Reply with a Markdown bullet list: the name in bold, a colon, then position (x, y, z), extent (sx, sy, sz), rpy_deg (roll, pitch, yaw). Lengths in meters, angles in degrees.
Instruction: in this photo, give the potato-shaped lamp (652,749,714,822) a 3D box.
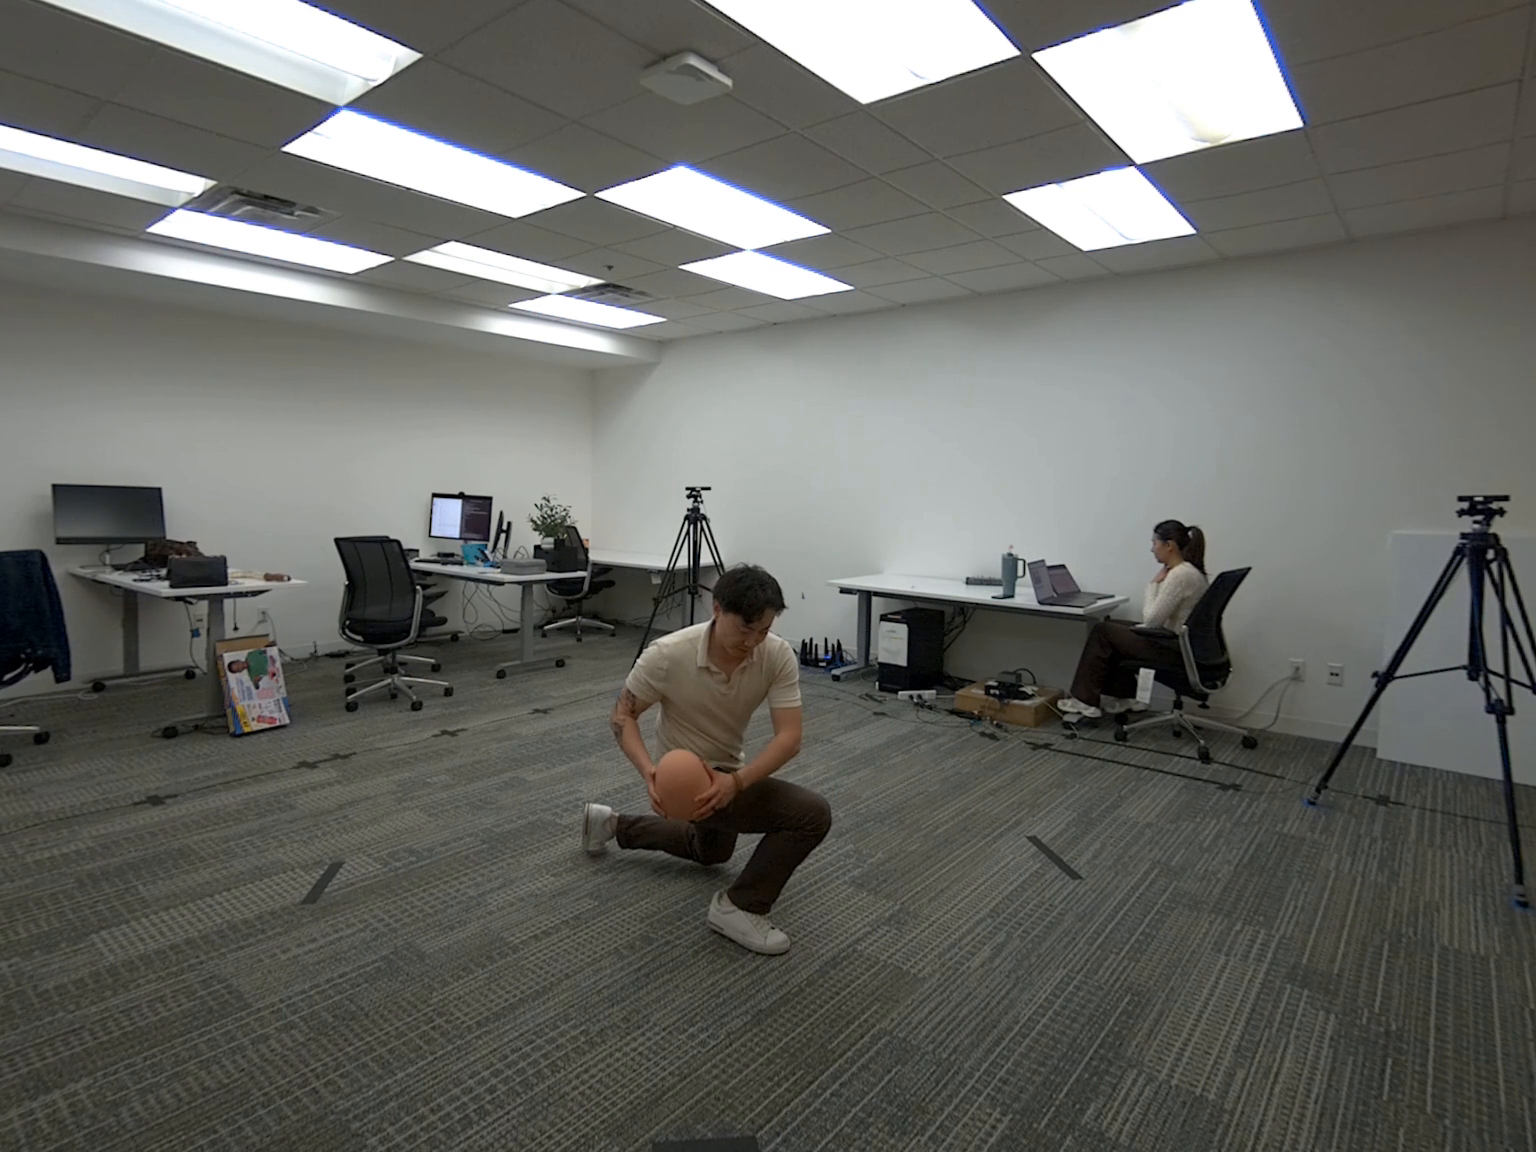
- **potato-shaped lamp**: position (-0.223, 0.577, 2.434), extent (0.166, 0.193, 0.173), rpy_deg (-7, 22, 11)
